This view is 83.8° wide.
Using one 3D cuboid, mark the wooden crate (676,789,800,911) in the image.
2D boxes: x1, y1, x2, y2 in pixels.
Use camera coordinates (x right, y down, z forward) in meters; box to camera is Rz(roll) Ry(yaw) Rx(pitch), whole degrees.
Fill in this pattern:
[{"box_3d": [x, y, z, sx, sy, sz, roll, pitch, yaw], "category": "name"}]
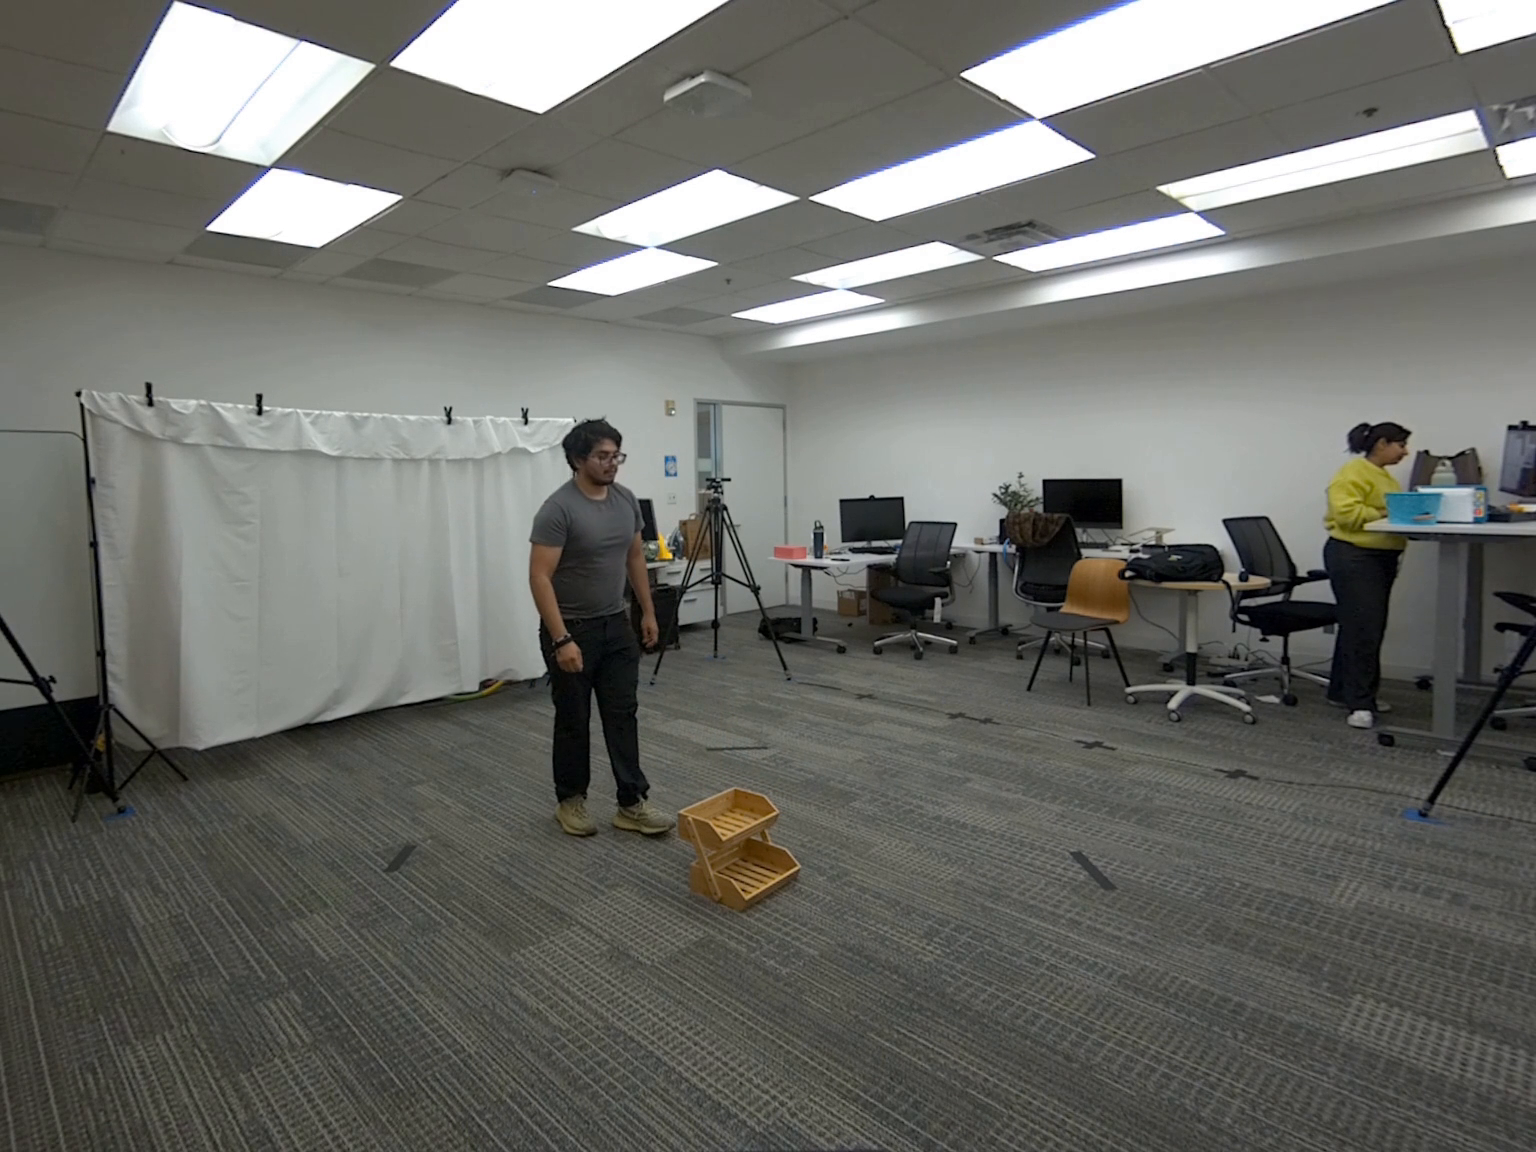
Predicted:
[{"box_3d": [-0.093, 0.928, 2.948, 0.311, 0.272, 0.316, 3, 7, 40], "category": "wooden crate"}]
